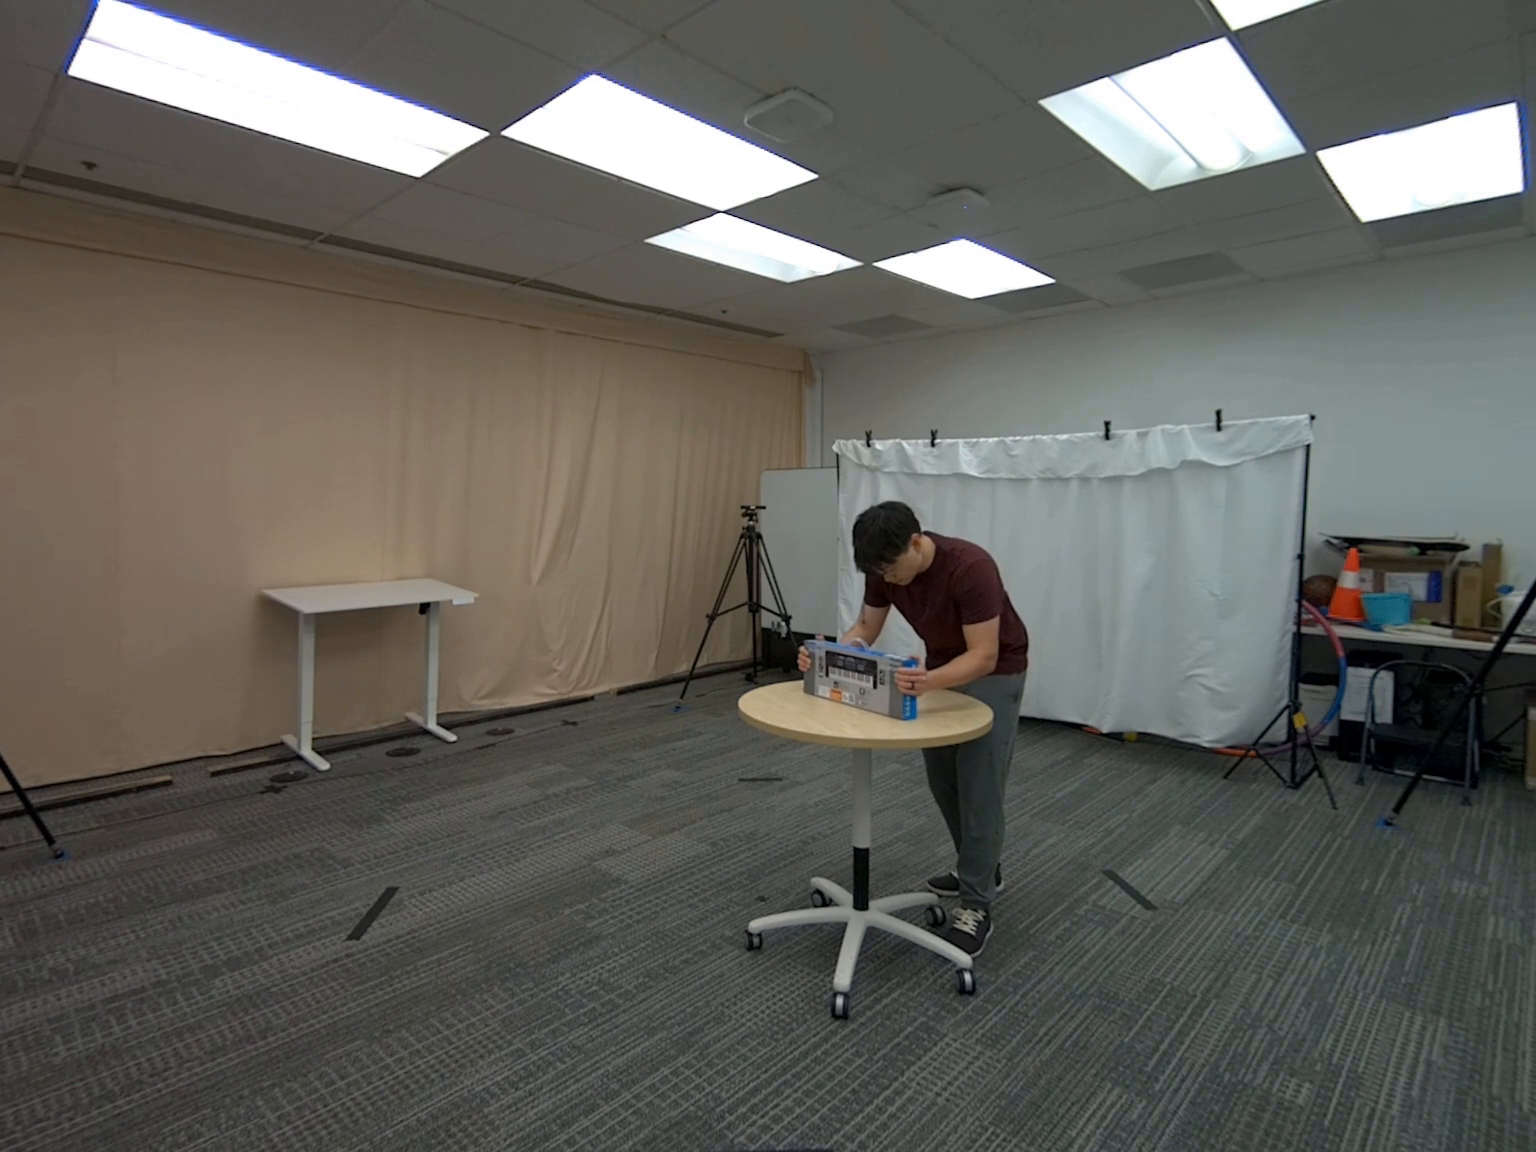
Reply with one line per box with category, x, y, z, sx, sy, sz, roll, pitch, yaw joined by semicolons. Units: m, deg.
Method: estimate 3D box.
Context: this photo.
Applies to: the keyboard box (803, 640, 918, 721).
keyboard box;0.283;0.319;2.578;0.057;0.175;0.451;-3;6;-37
